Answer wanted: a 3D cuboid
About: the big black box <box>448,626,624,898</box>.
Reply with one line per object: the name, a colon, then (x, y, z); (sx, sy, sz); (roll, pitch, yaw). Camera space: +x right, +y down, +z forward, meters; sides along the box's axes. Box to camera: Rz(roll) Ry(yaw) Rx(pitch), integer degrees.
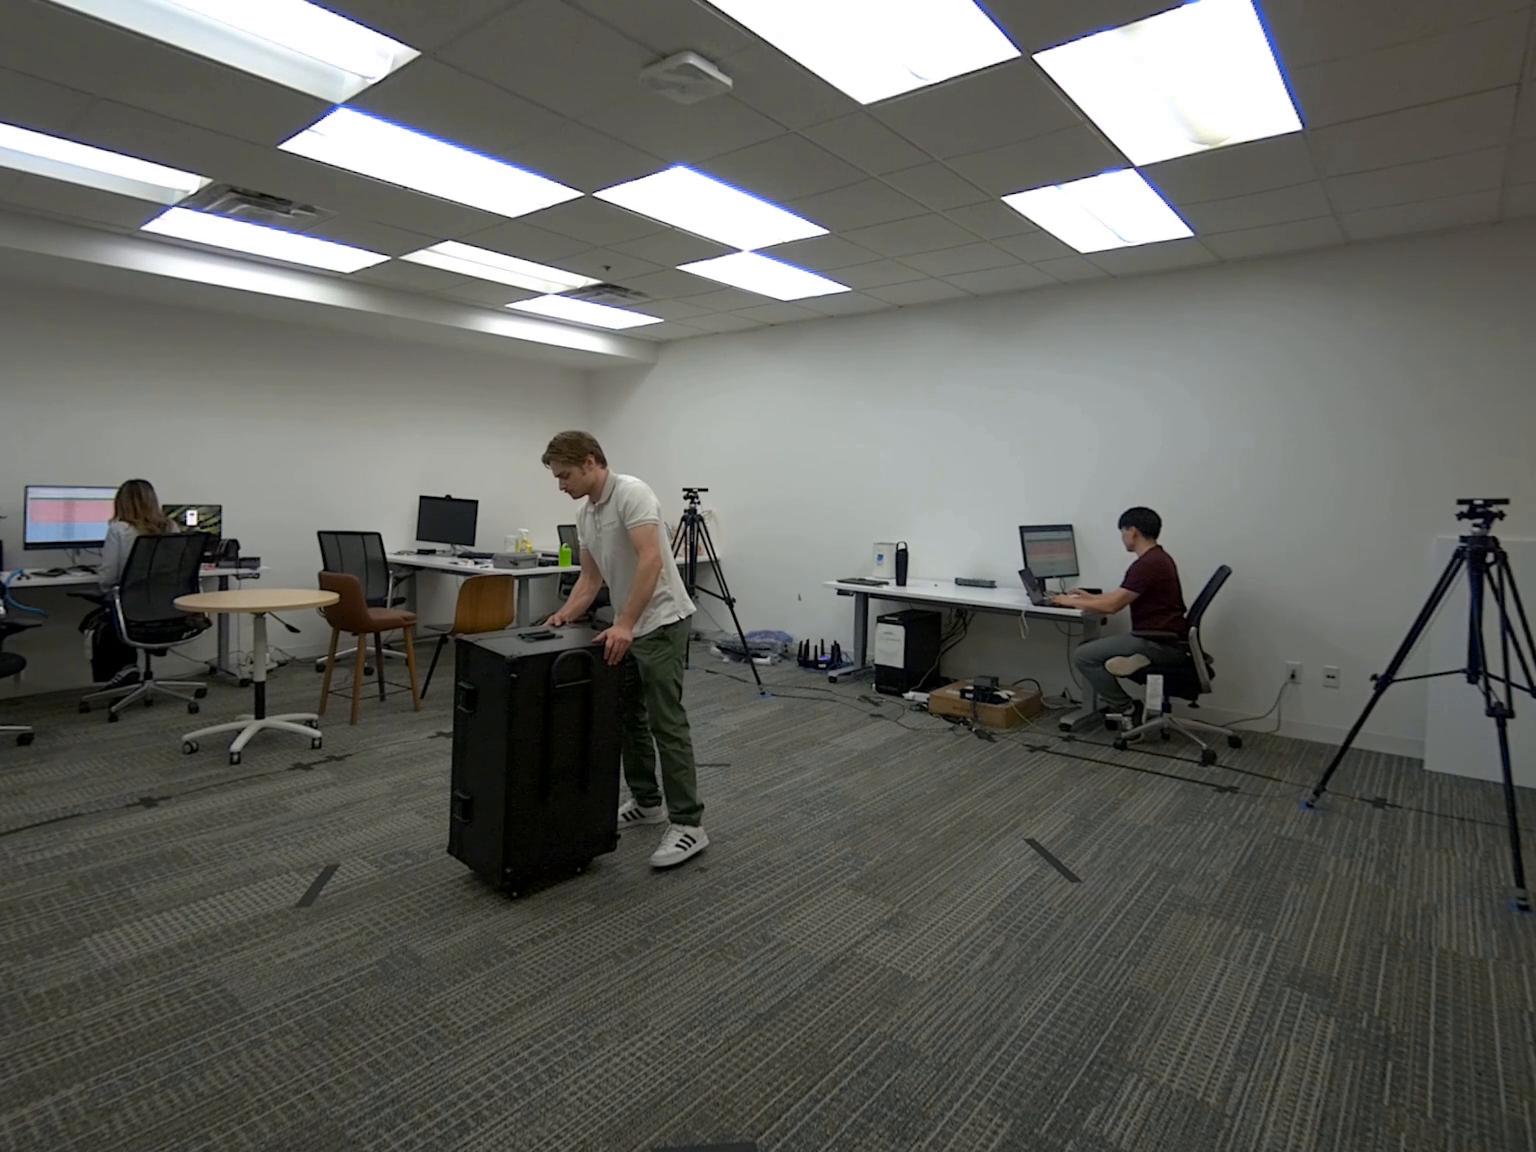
big black box: (-0.825, 0.641, 3.013); (0.411, 0.857, 0.505); (10, 8, 42)
